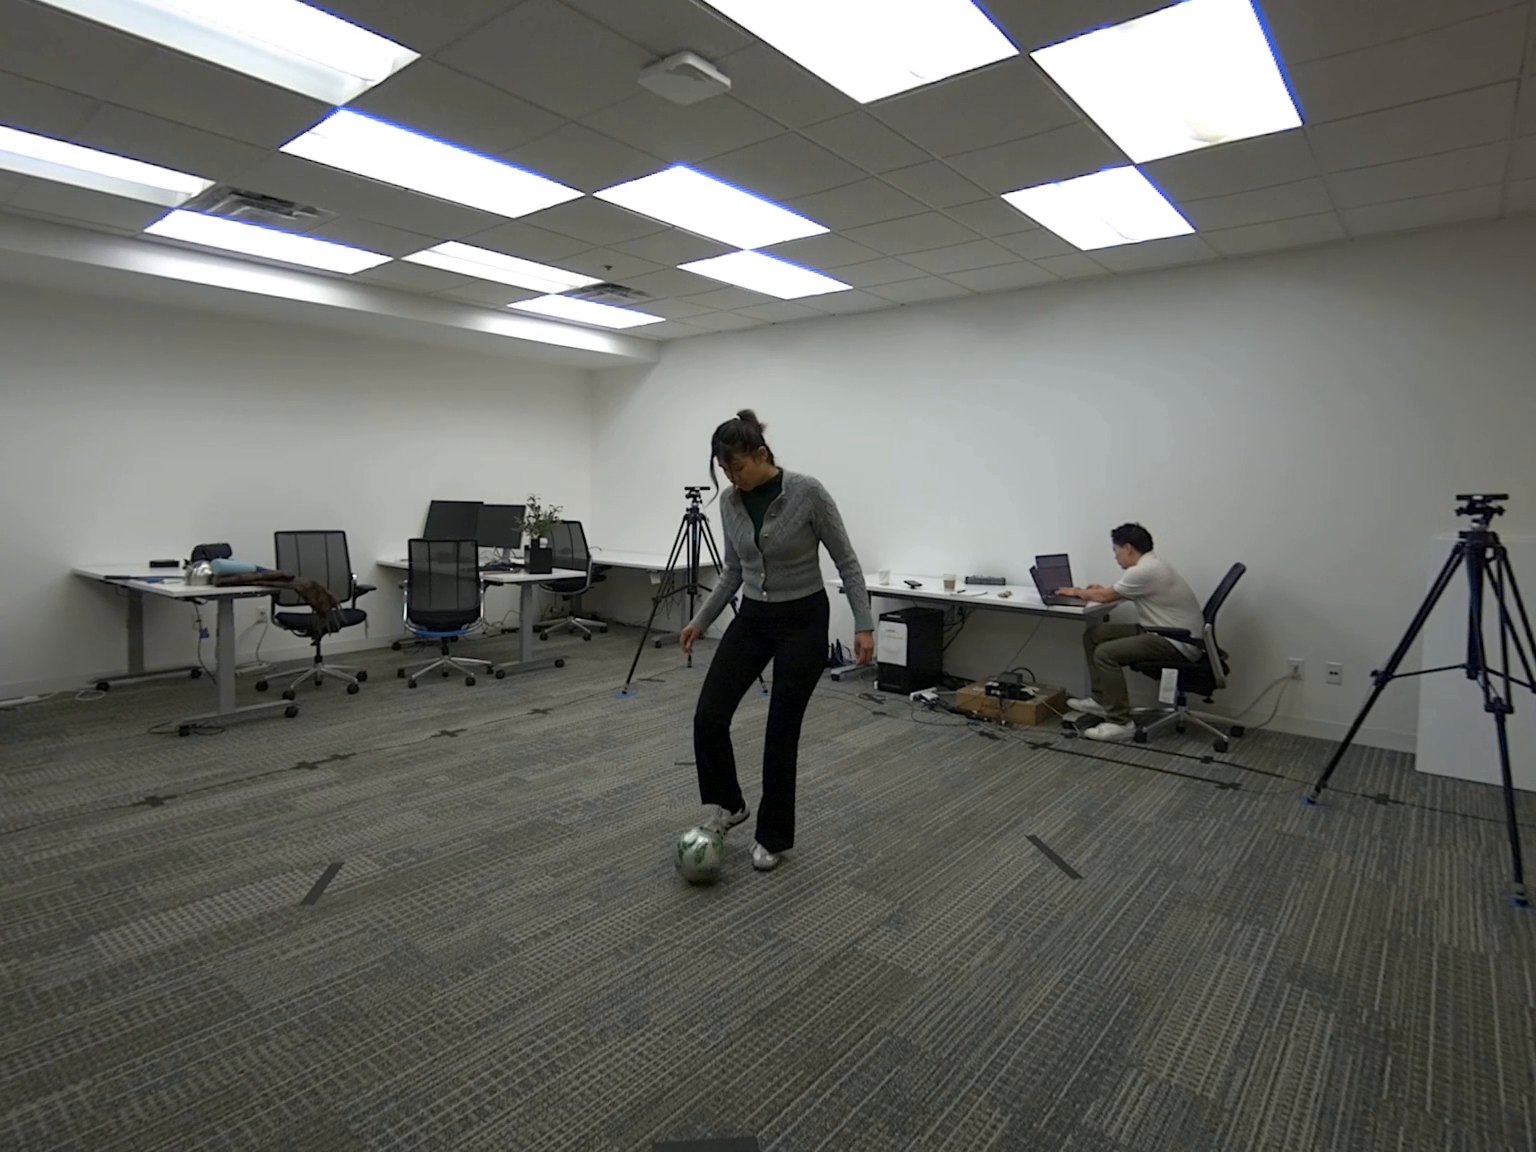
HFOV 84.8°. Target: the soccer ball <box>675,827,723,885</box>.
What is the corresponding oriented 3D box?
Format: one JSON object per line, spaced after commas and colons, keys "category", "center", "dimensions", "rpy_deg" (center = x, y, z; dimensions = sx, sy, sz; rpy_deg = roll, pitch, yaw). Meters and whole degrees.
{"category": "soccer ball", "center": [-0.252, 0.980, 2.984], "dimensions": [0.187, 0.187, 0.188], "rpy_deg": [1, 4, -2]}
